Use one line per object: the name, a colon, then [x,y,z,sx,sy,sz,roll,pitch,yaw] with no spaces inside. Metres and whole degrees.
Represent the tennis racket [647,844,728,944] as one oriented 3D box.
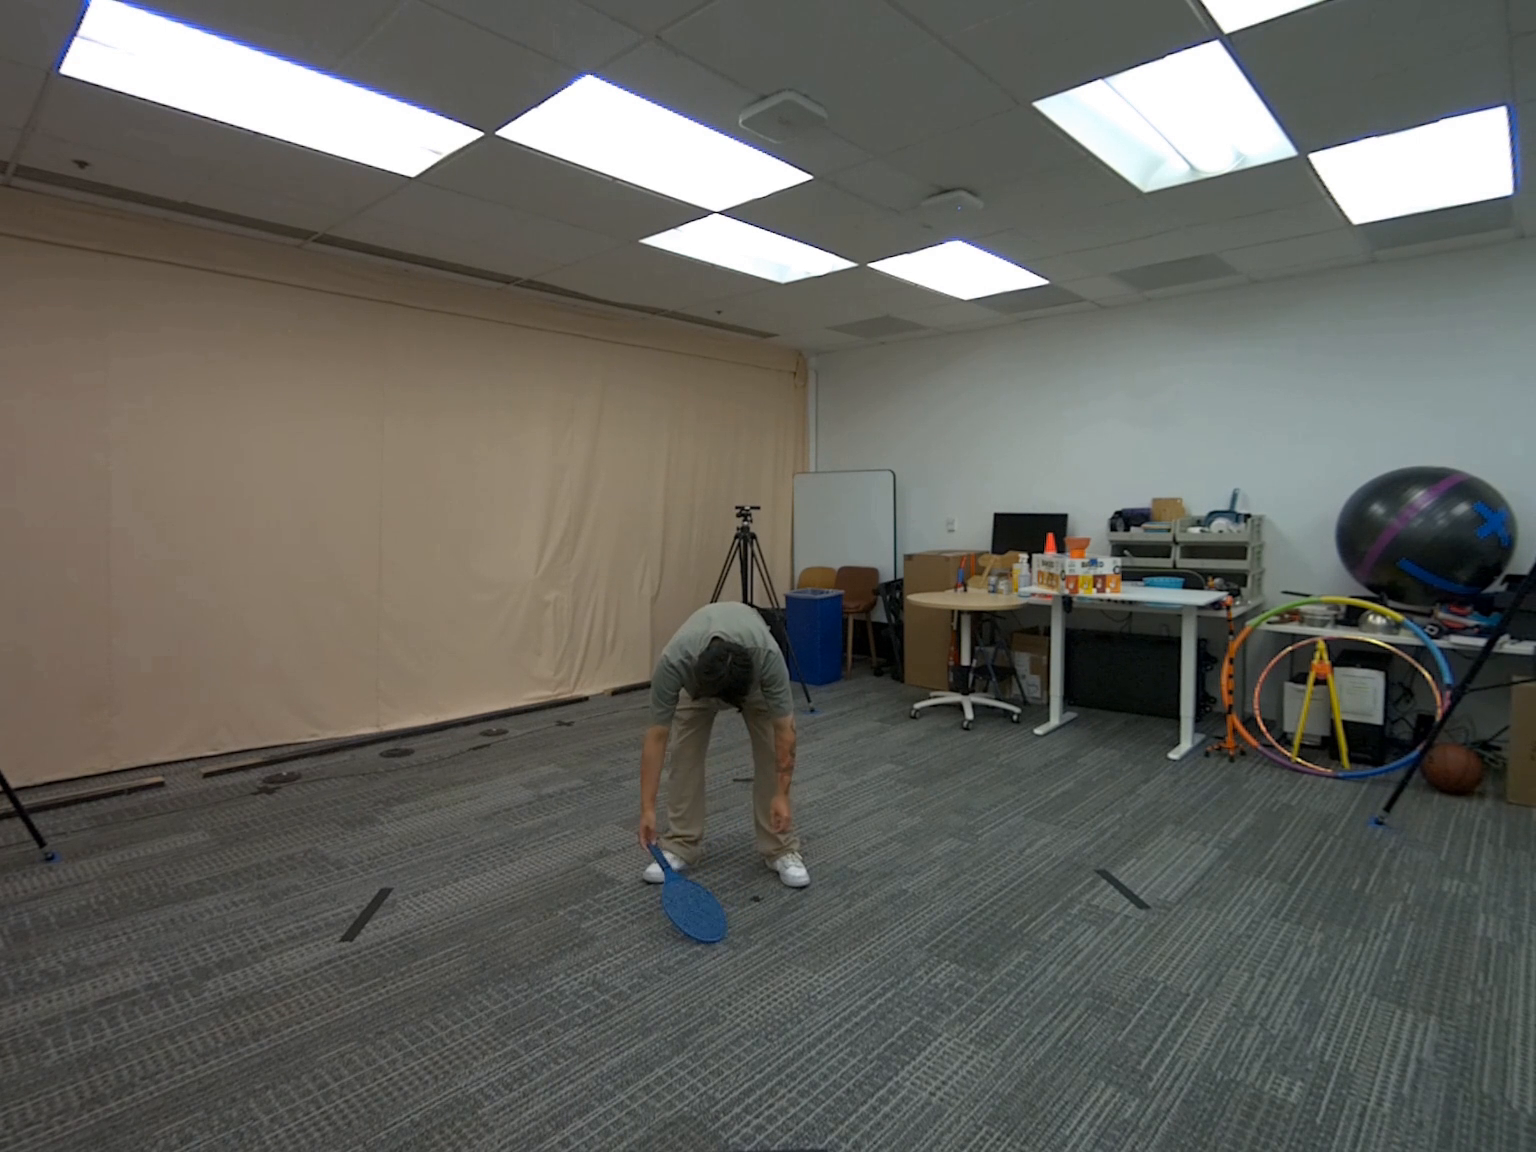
tennis racket: [-0.275,1.060,2.826,0.207,0.031,0.449,3,27,-40]
